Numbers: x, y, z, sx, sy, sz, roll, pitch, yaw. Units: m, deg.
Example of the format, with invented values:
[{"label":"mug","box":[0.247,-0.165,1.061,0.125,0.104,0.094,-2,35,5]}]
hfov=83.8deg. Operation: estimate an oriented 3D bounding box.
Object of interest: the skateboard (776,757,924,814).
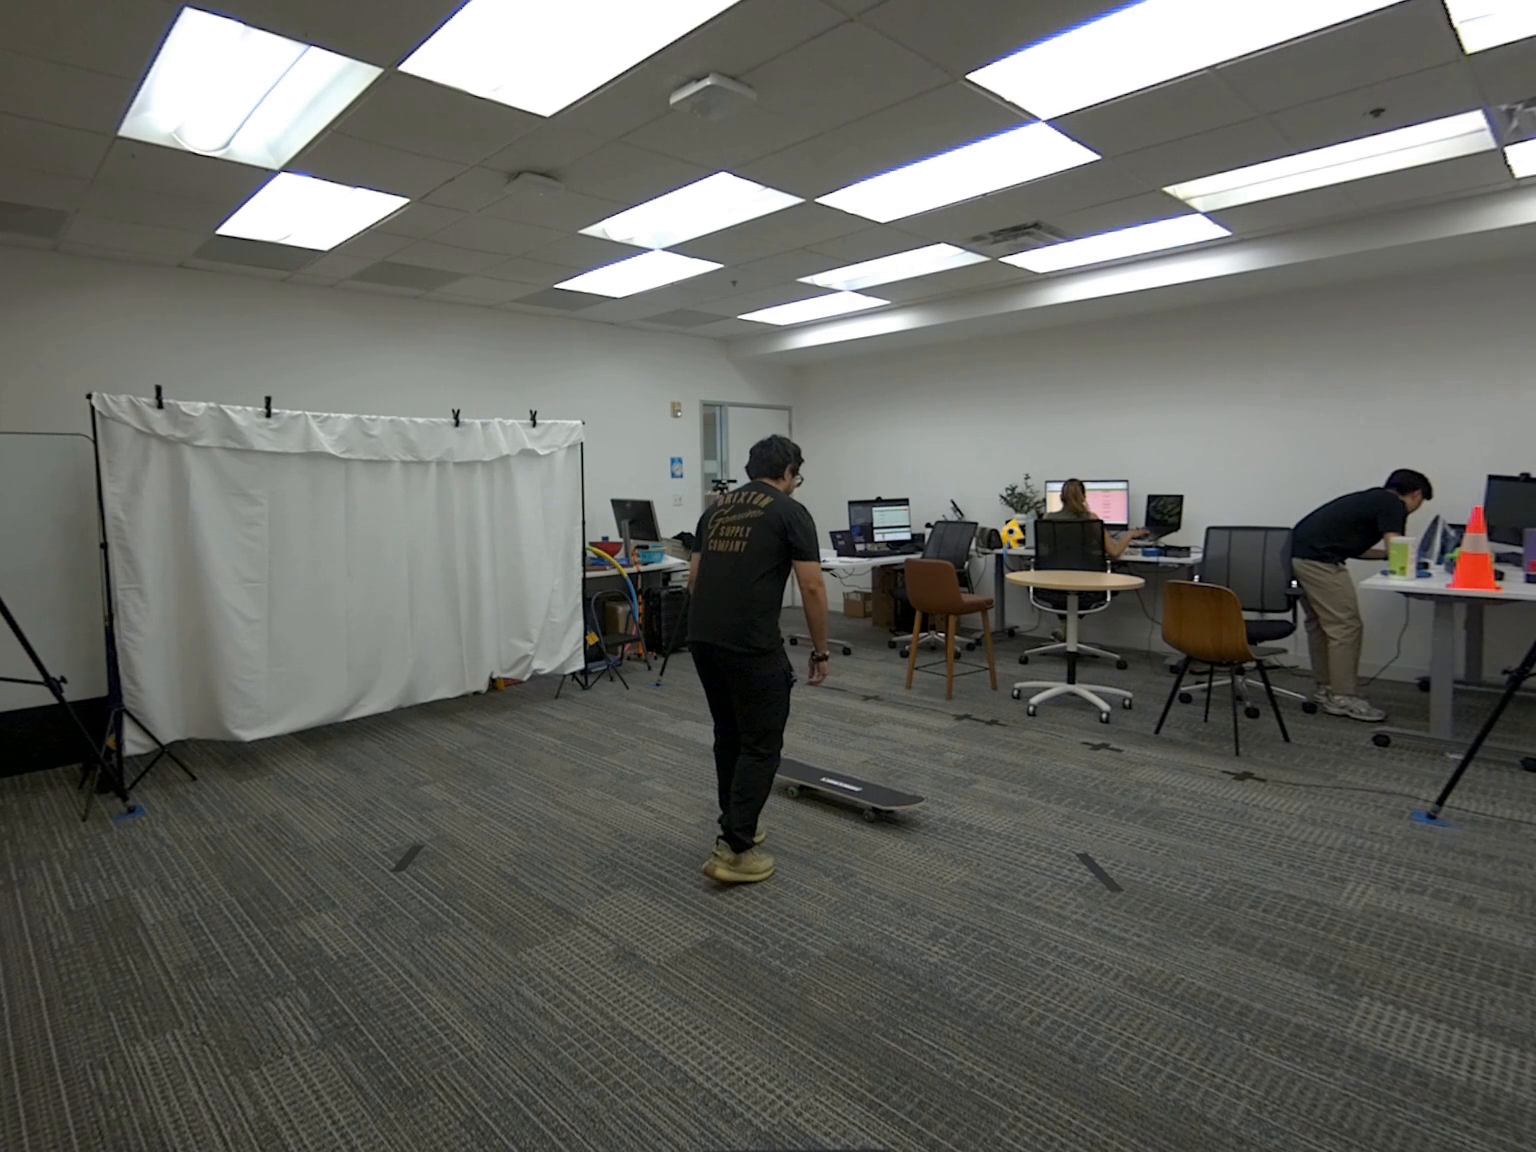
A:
[{"label":"skateboard","box":[0.317,0.927,3.666,0.810,0.110,0.188,5,8,43]}]
